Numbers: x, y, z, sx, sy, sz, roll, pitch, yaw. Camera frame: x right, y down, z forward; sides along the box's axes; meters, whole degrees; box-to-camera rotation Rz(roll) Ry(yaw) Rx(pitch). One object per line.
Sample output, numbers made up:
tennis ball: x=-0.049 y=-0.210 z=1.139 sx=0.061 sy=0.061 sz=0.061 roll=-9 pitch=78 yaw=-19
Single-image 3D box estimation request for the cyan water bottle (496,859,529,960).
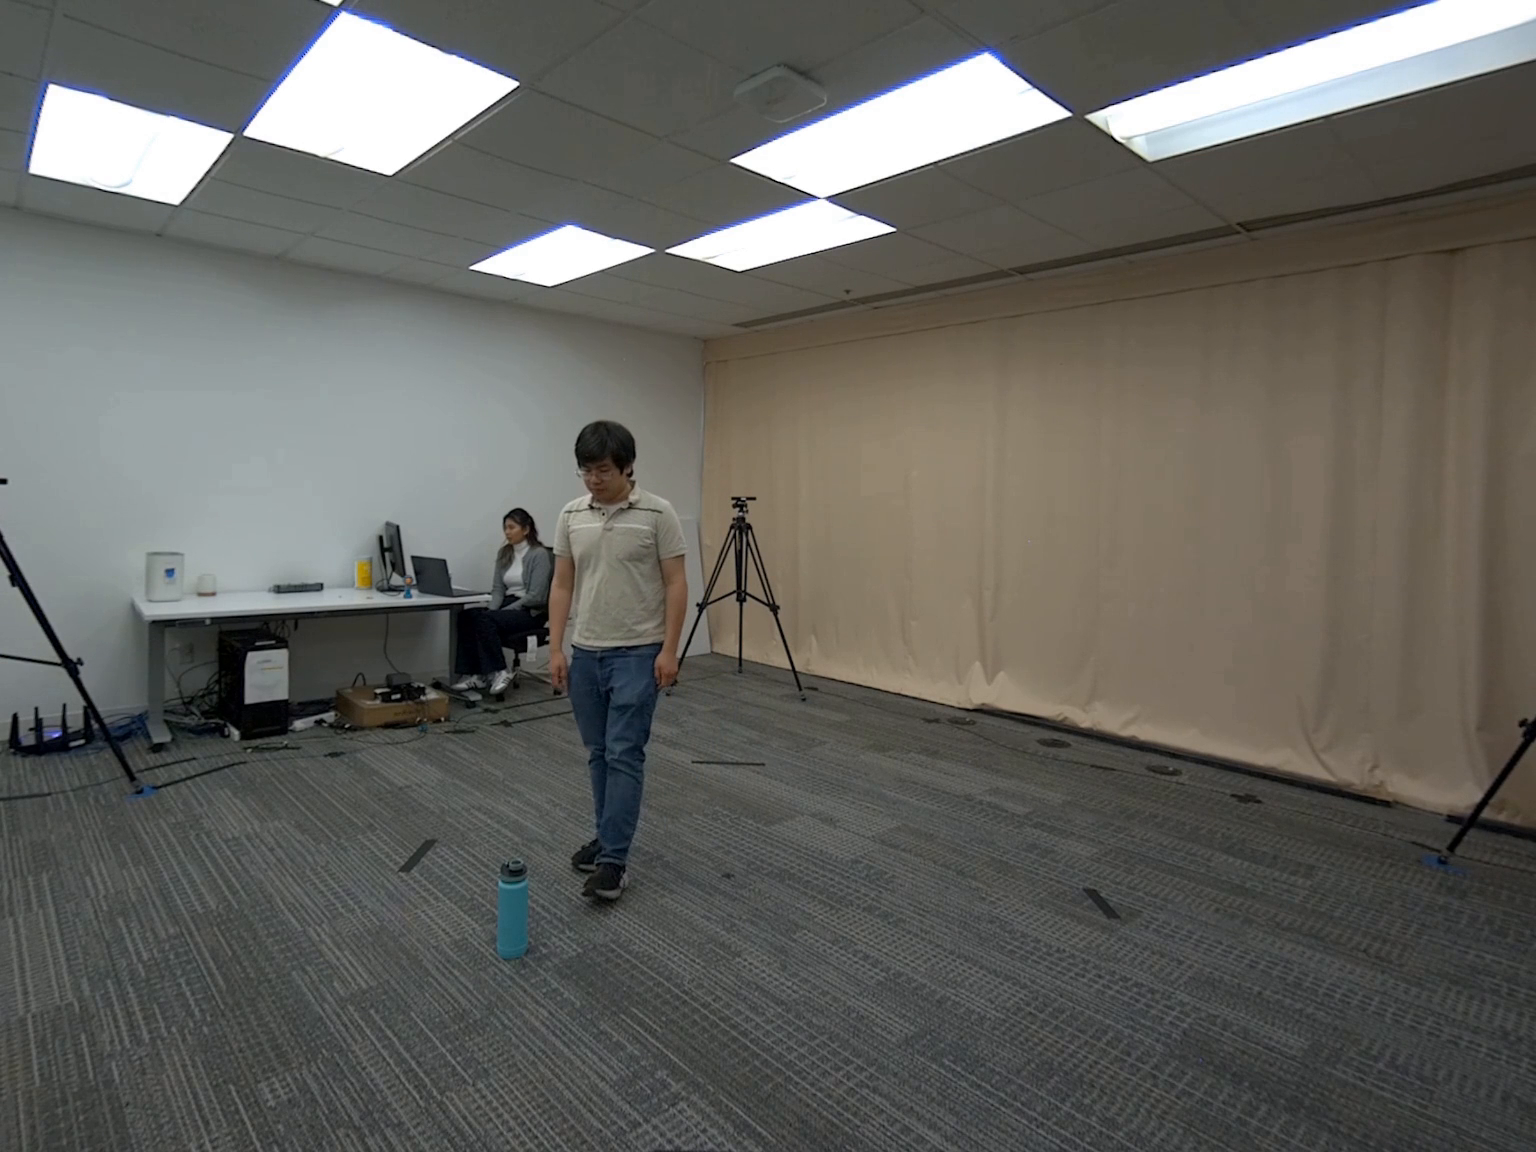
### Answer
cyan water bottle: x=-0.791 y=1.005 z=2.549 sx=0.092 sy=0.283 sz=0.092 roll=1 pitch=3 yaw=-1
